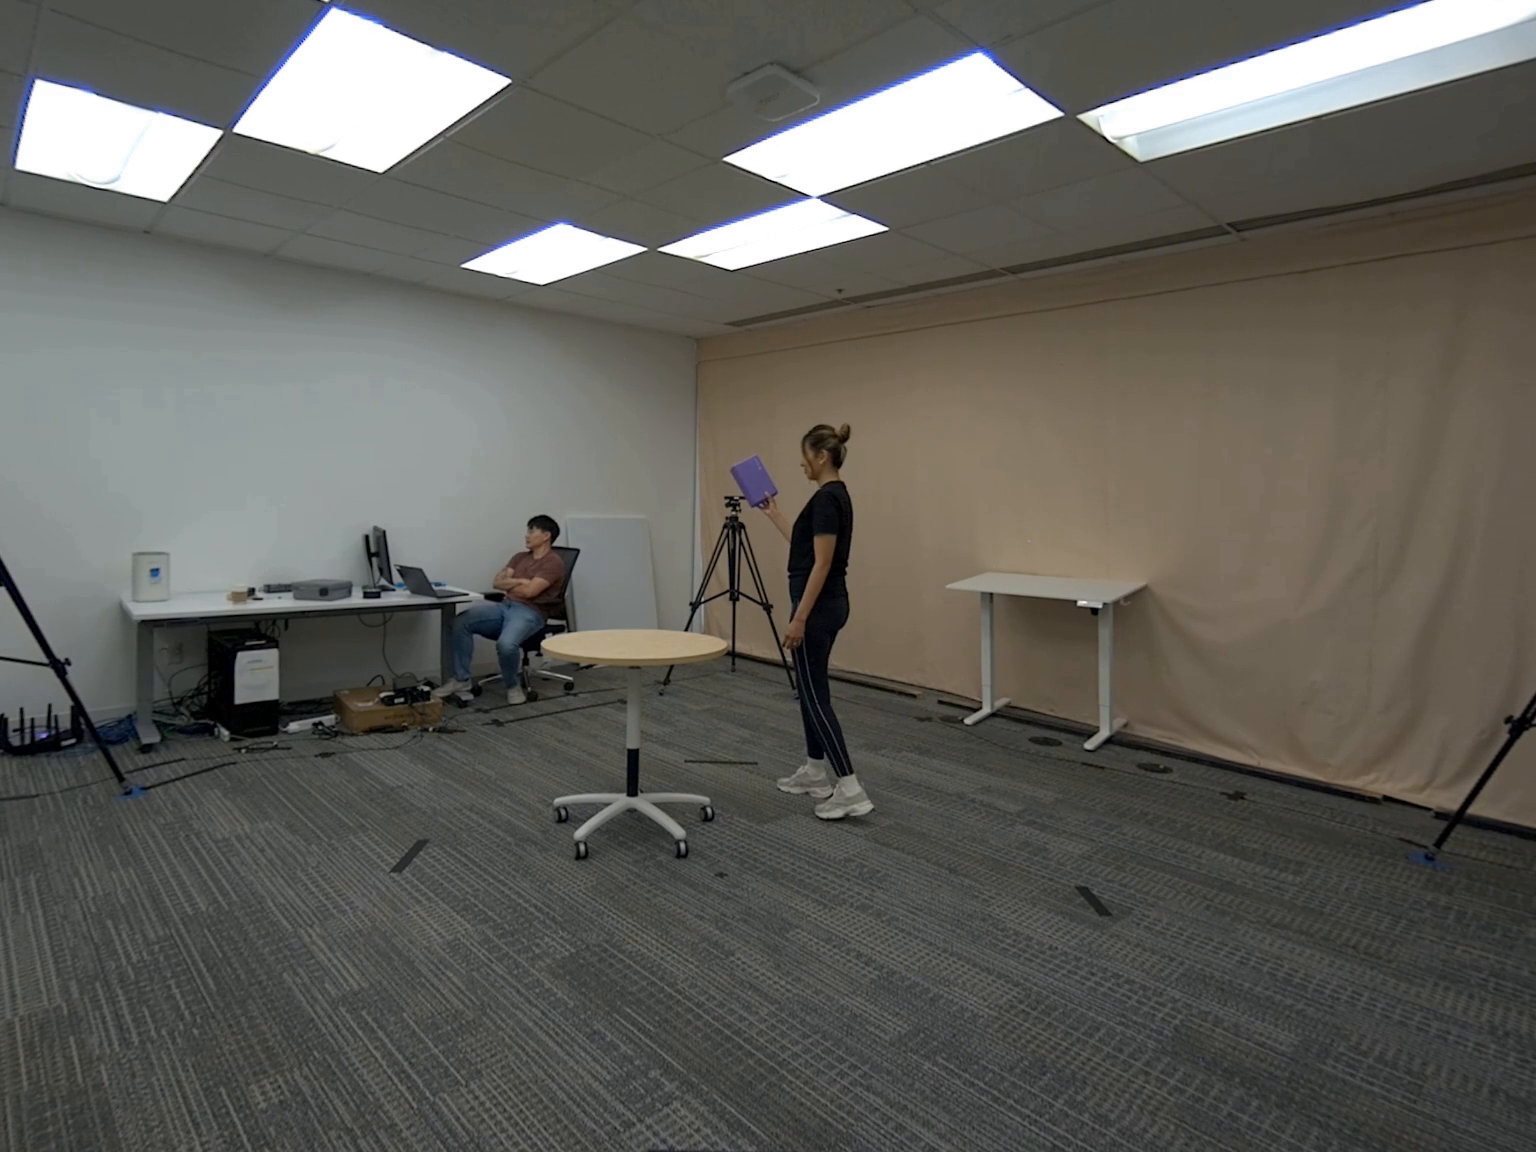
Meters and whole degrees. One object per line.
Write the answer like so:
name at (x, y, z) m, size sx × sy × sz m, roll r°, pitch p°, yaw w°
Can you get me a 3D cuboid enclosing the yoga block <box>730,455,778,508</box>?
yoga block at (-0.077, -0.478, 4.222) m, size 0.148 × 0.230 × 0.076 m, roll -28°, pitch -4°, yaw -16°
